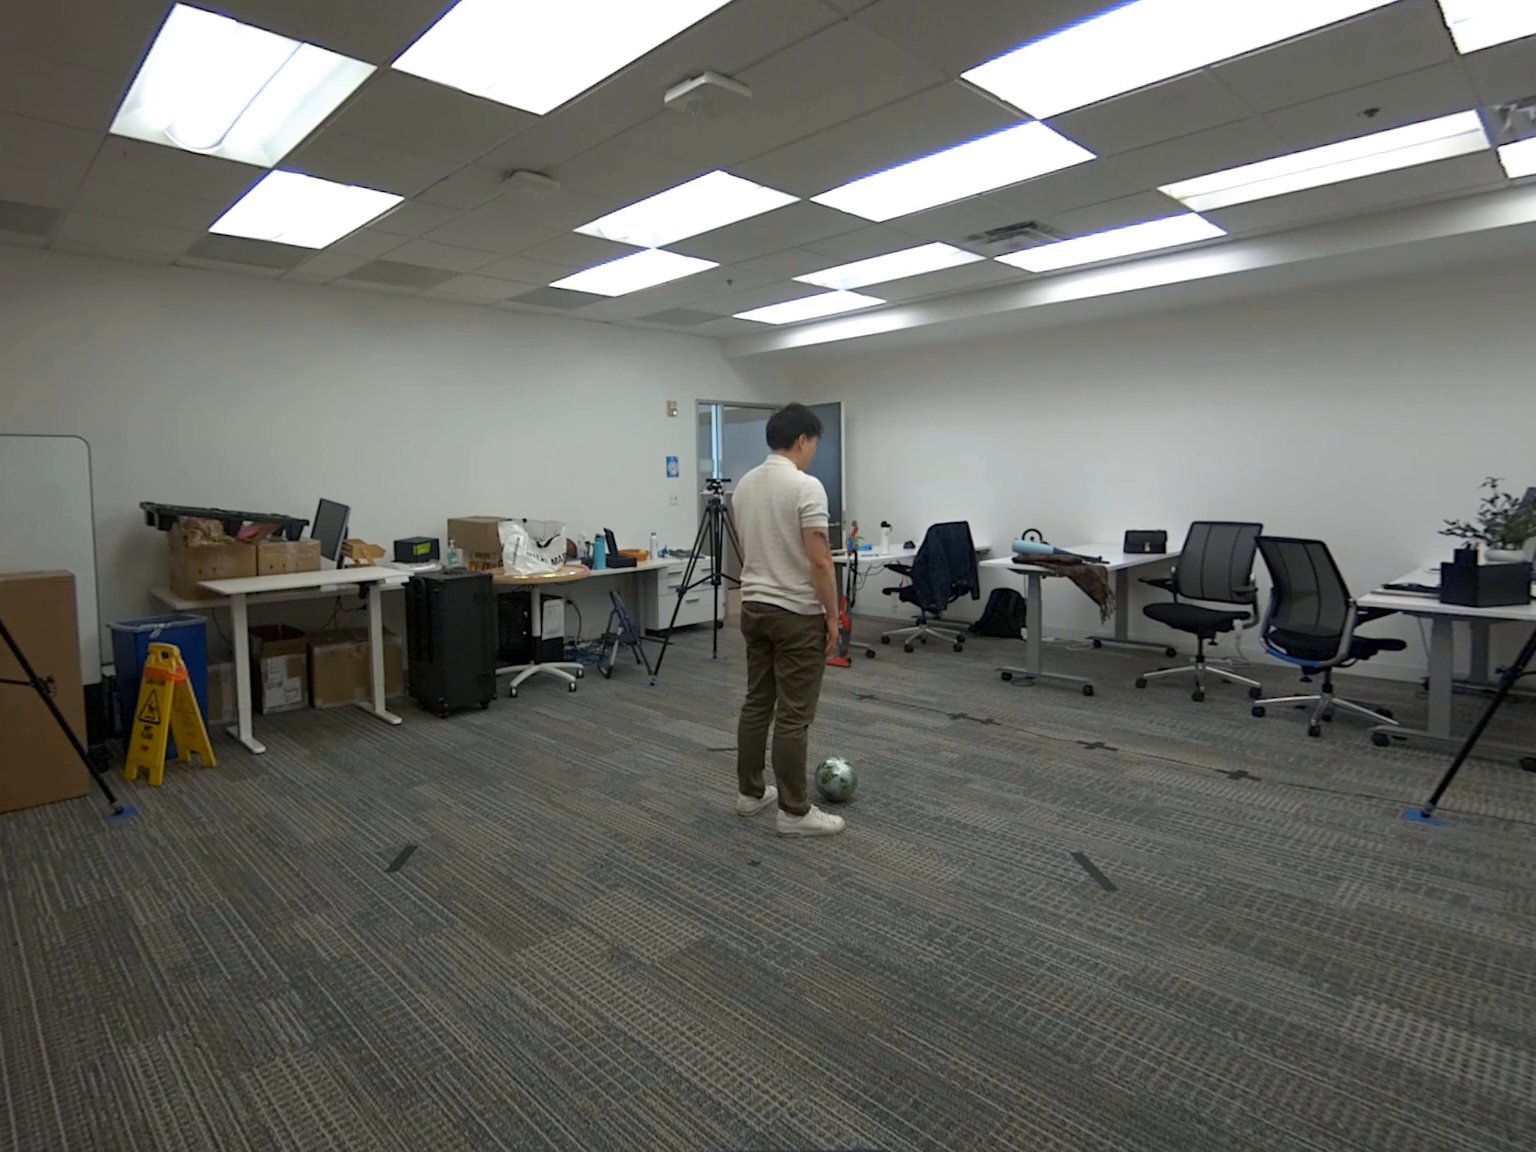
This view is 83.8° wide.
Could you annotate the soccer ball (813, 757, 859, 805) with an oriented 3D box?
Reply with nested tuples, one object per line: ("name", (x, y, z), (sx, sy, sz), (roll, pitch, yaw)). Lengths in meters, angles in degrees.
("soccer ball", (0.295, 0.877, 3.706), (0.187, 0.187, 0.188), (-1, 5, -2))
